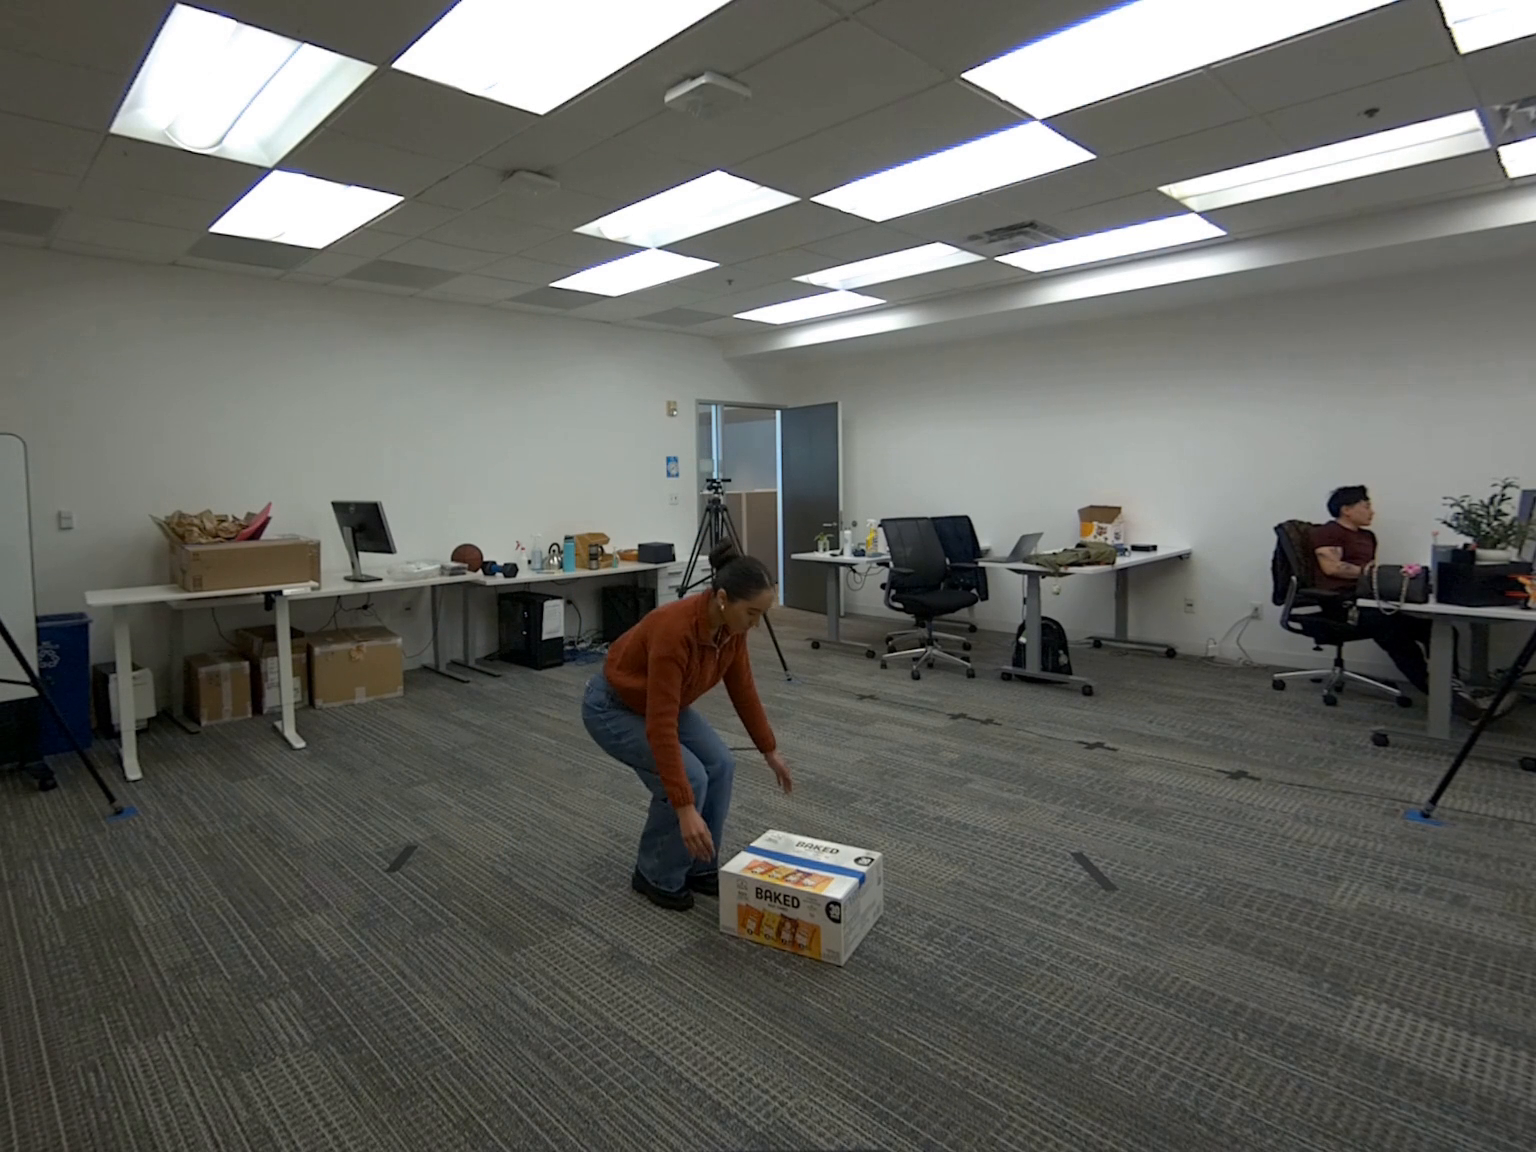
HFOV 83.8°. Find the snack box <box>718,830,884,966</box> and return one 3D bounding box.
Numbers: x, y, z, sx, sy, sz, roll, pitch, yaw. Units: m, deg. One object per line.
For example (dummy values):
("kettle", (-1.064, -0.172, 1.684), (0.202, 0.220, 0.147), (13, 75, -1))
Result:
("snack box", (0.110, 0.989, 2.668), (0.415, 0.205, 0.333), (2, 7, 29))
